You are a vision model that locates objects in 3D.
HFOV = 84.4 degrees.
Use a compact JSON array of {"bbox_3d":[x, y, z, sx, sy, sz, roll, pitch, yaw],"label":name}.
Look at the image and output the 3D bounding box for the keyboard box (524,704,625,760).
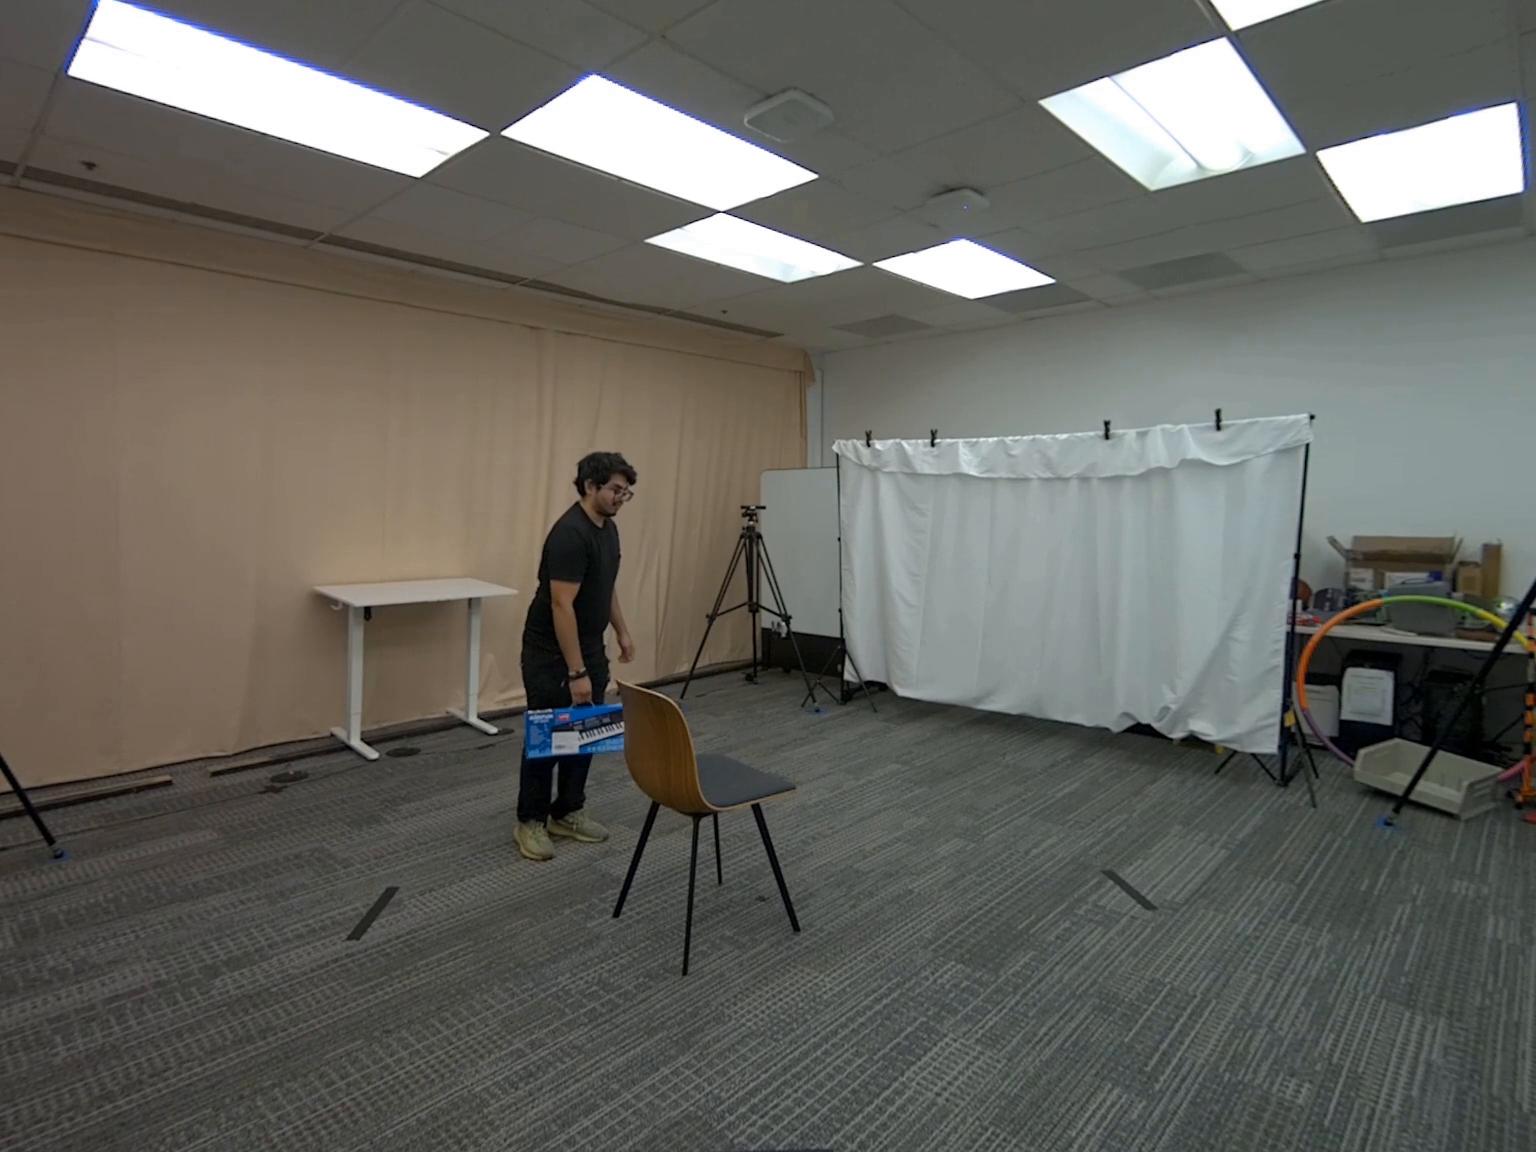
[{"bbox_3d":[-0.723,0.600,3.256,0.429,0.176,0.060,-2,1,-18],"label":"keyboard box"}]
